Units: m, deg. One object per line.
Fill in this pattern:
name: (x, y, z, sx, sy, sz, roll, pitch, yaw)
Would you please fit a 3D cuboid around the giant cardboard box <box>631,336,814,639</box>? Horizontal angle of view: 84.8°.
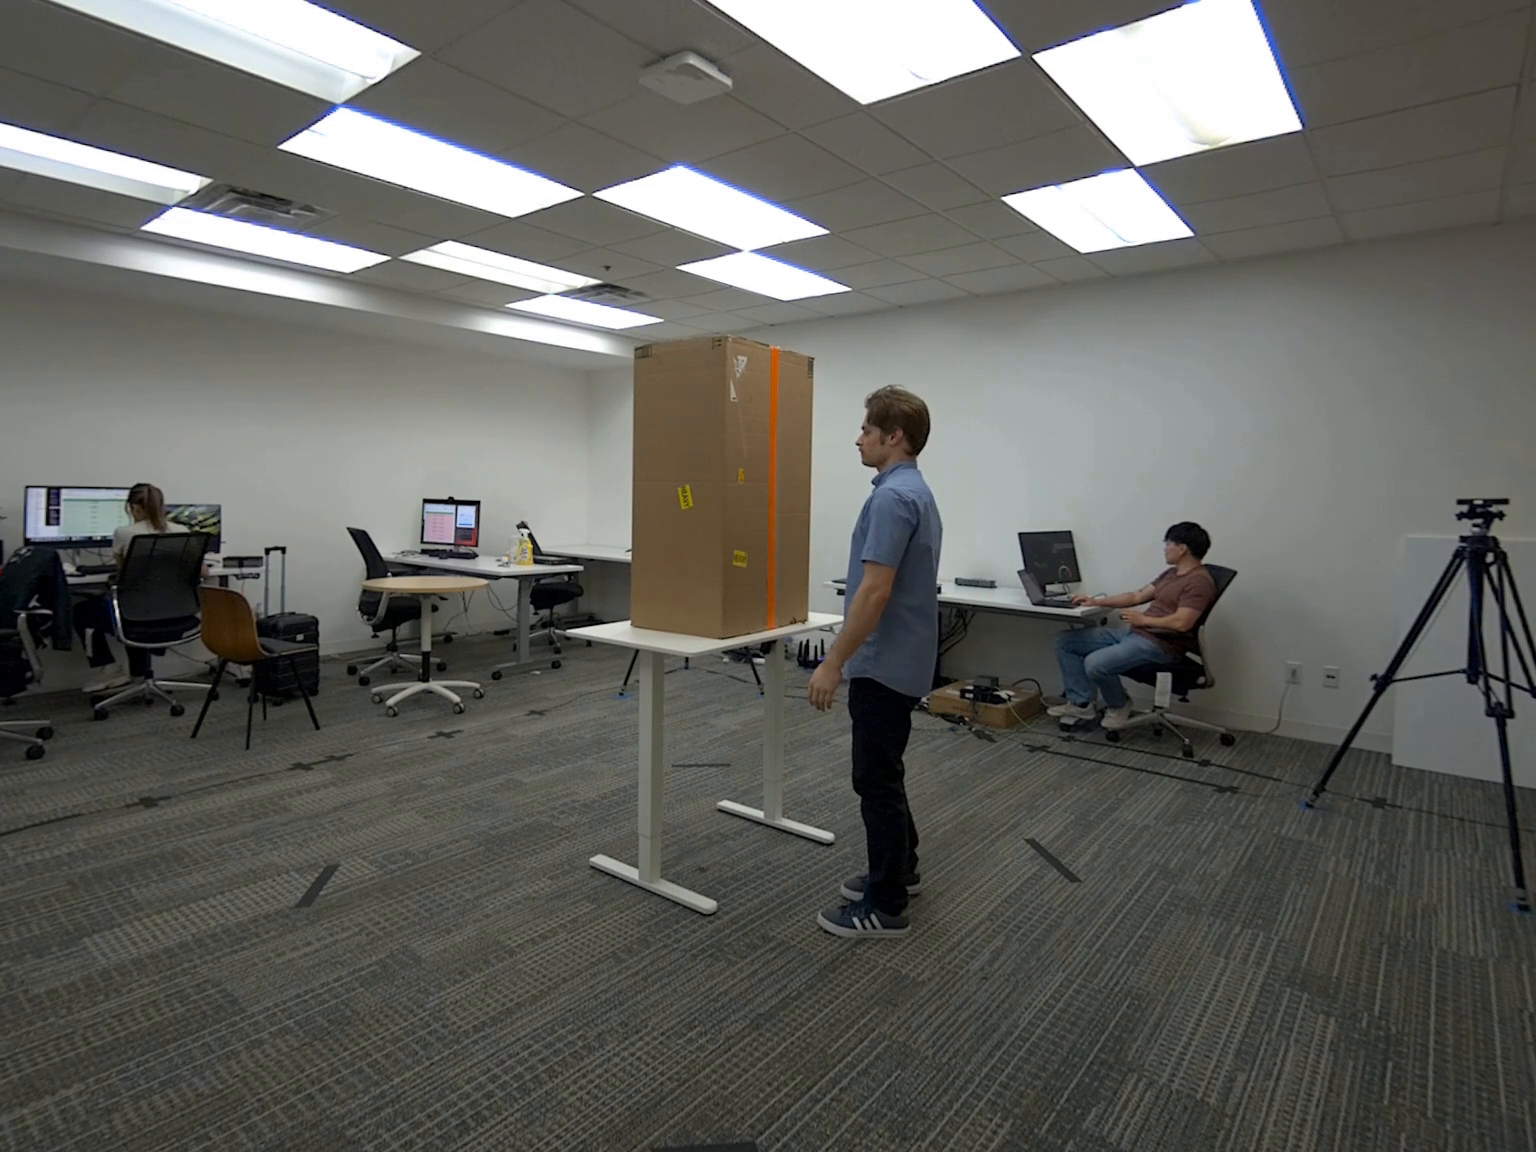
giant cardboard box: (-0.169, -0.327, 3.190, 0.440, 1.023, 0.561, 3, 4, 36)
